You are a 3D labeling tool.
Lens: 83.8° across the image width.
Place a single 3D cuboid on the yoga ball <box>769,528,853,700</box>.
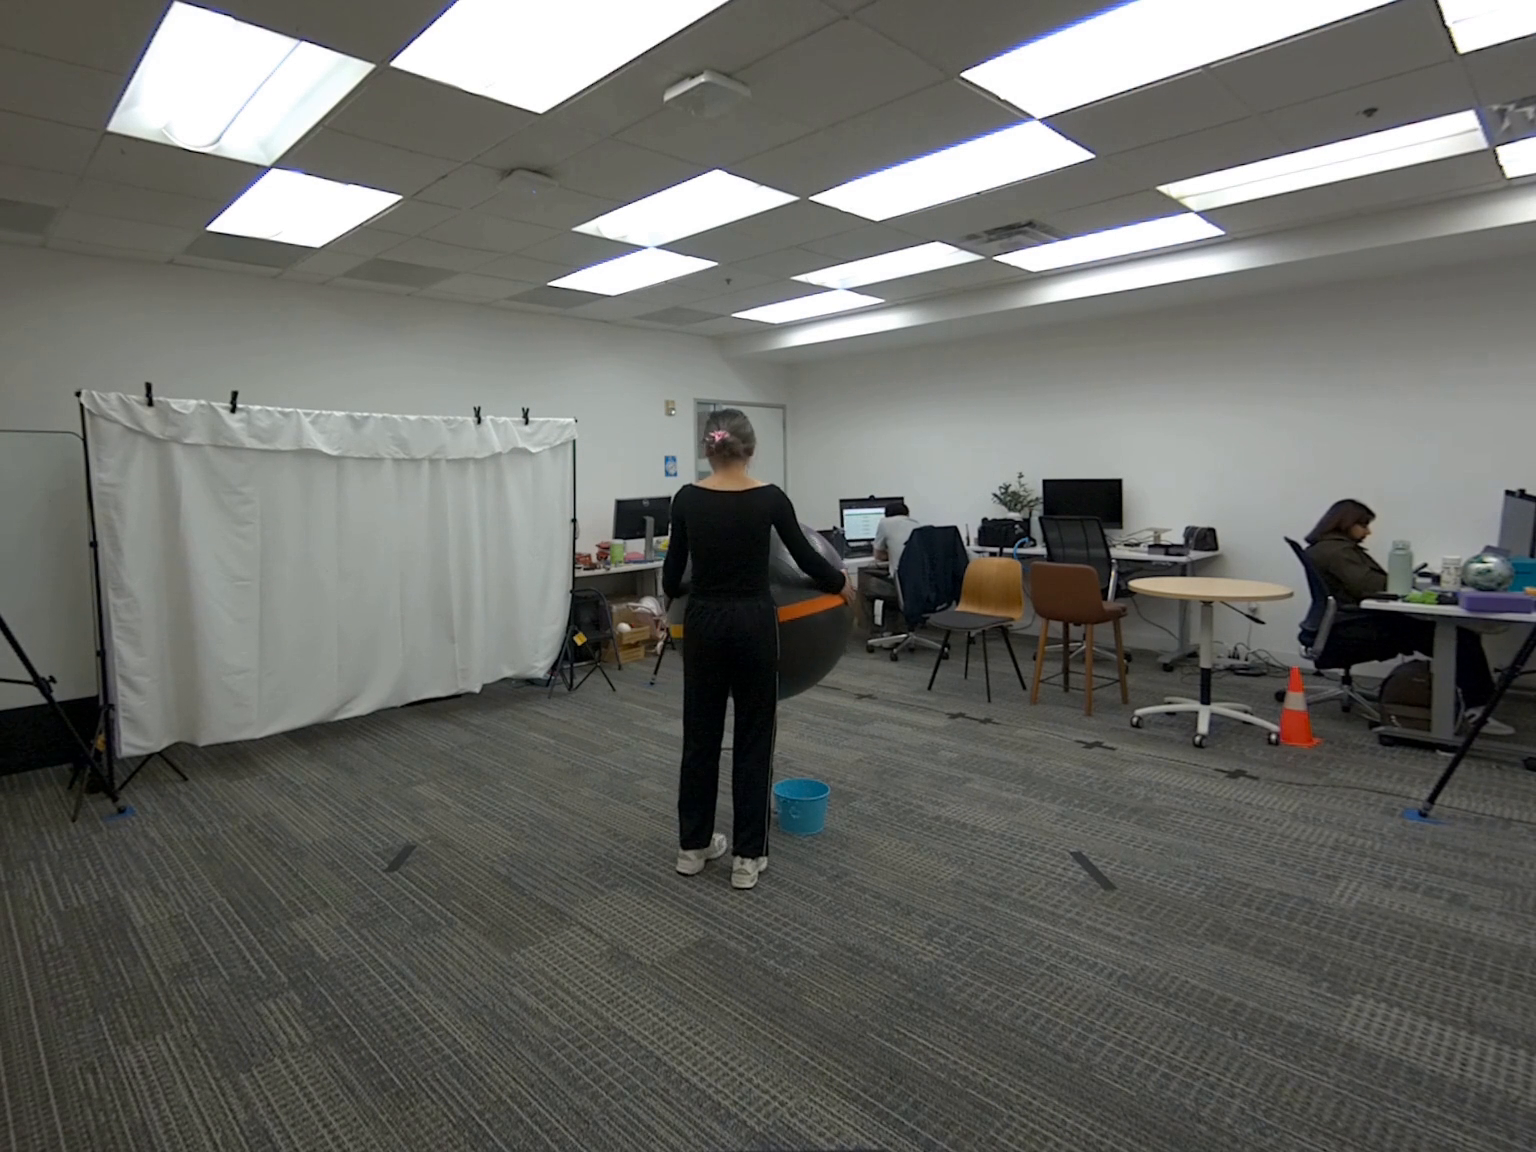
[{"bbox_3d":[-0.031,0.128,3.455,0.757,0.755,0.762,-1,5,-2],"label":"yoga ball"}]
